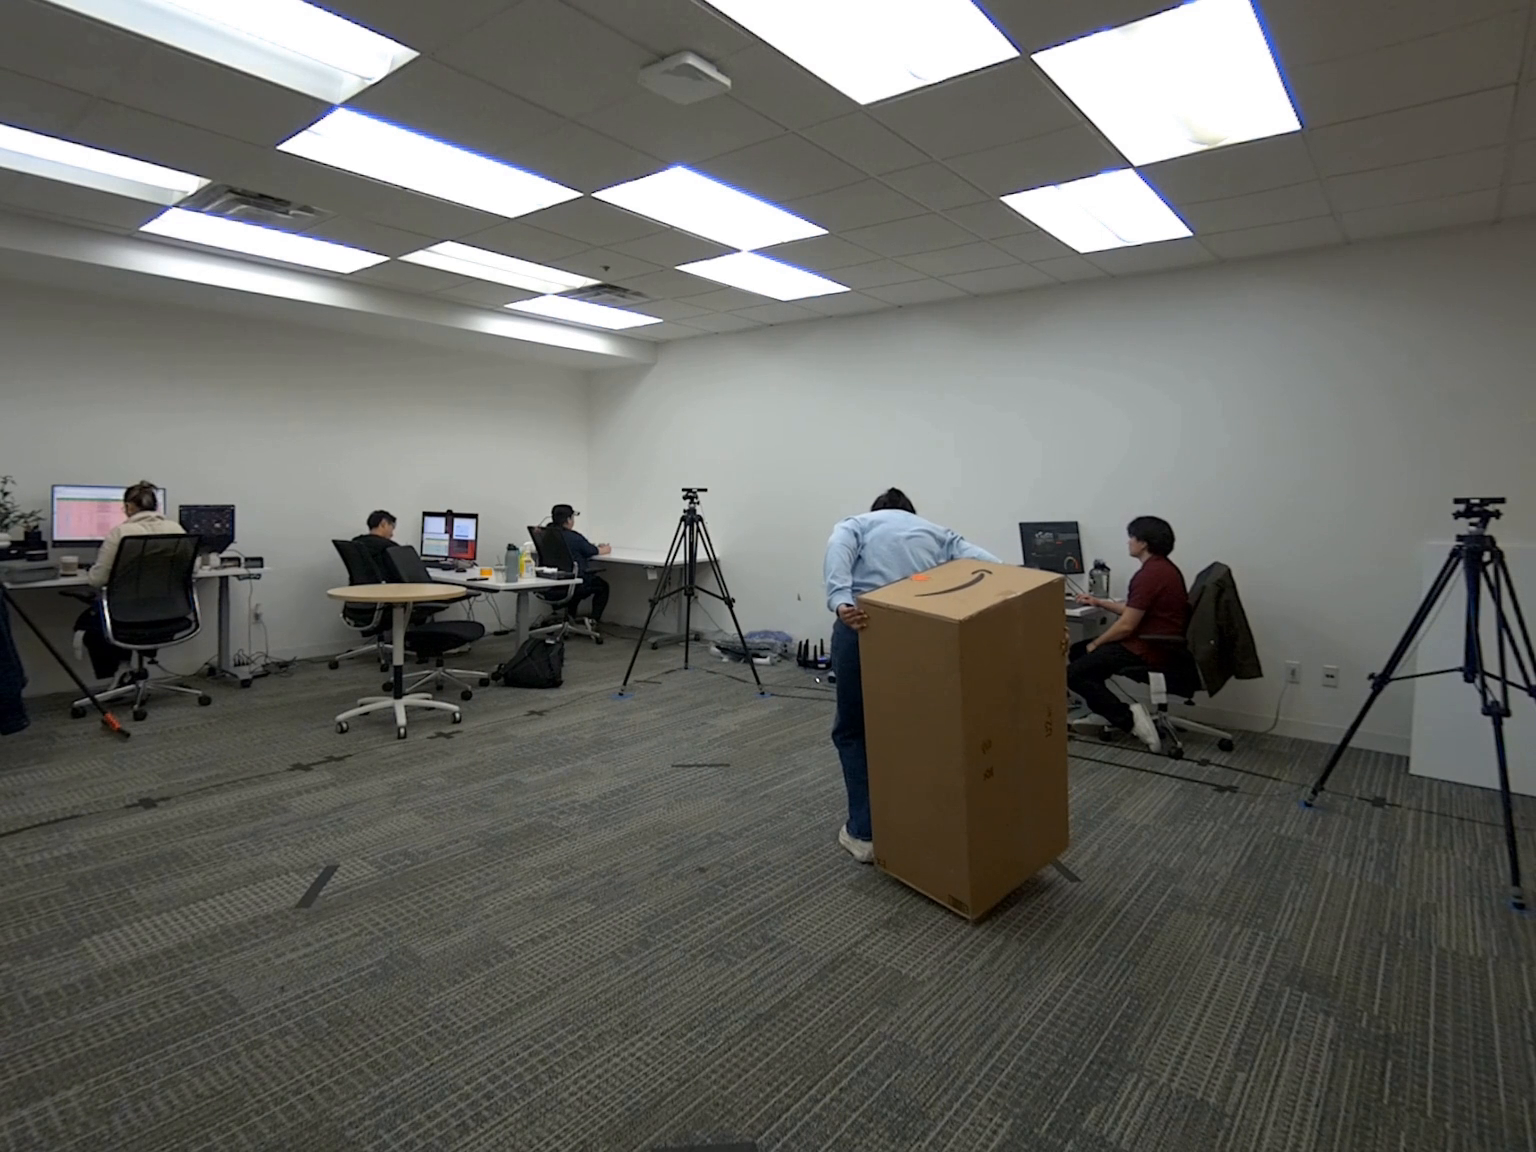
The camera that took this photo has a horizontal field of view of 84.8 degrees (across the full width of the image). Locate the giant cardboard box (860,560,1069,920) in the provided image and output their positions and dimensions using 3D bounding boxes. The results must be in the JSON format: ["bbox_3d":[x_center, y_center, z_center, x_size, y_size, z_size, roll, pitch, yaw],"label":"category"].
[{"bbox_3d":[0.676,0.516,2.945,0.565,1.012,0.442,-15,16,-36],"label":"giant cardboard box"}]
